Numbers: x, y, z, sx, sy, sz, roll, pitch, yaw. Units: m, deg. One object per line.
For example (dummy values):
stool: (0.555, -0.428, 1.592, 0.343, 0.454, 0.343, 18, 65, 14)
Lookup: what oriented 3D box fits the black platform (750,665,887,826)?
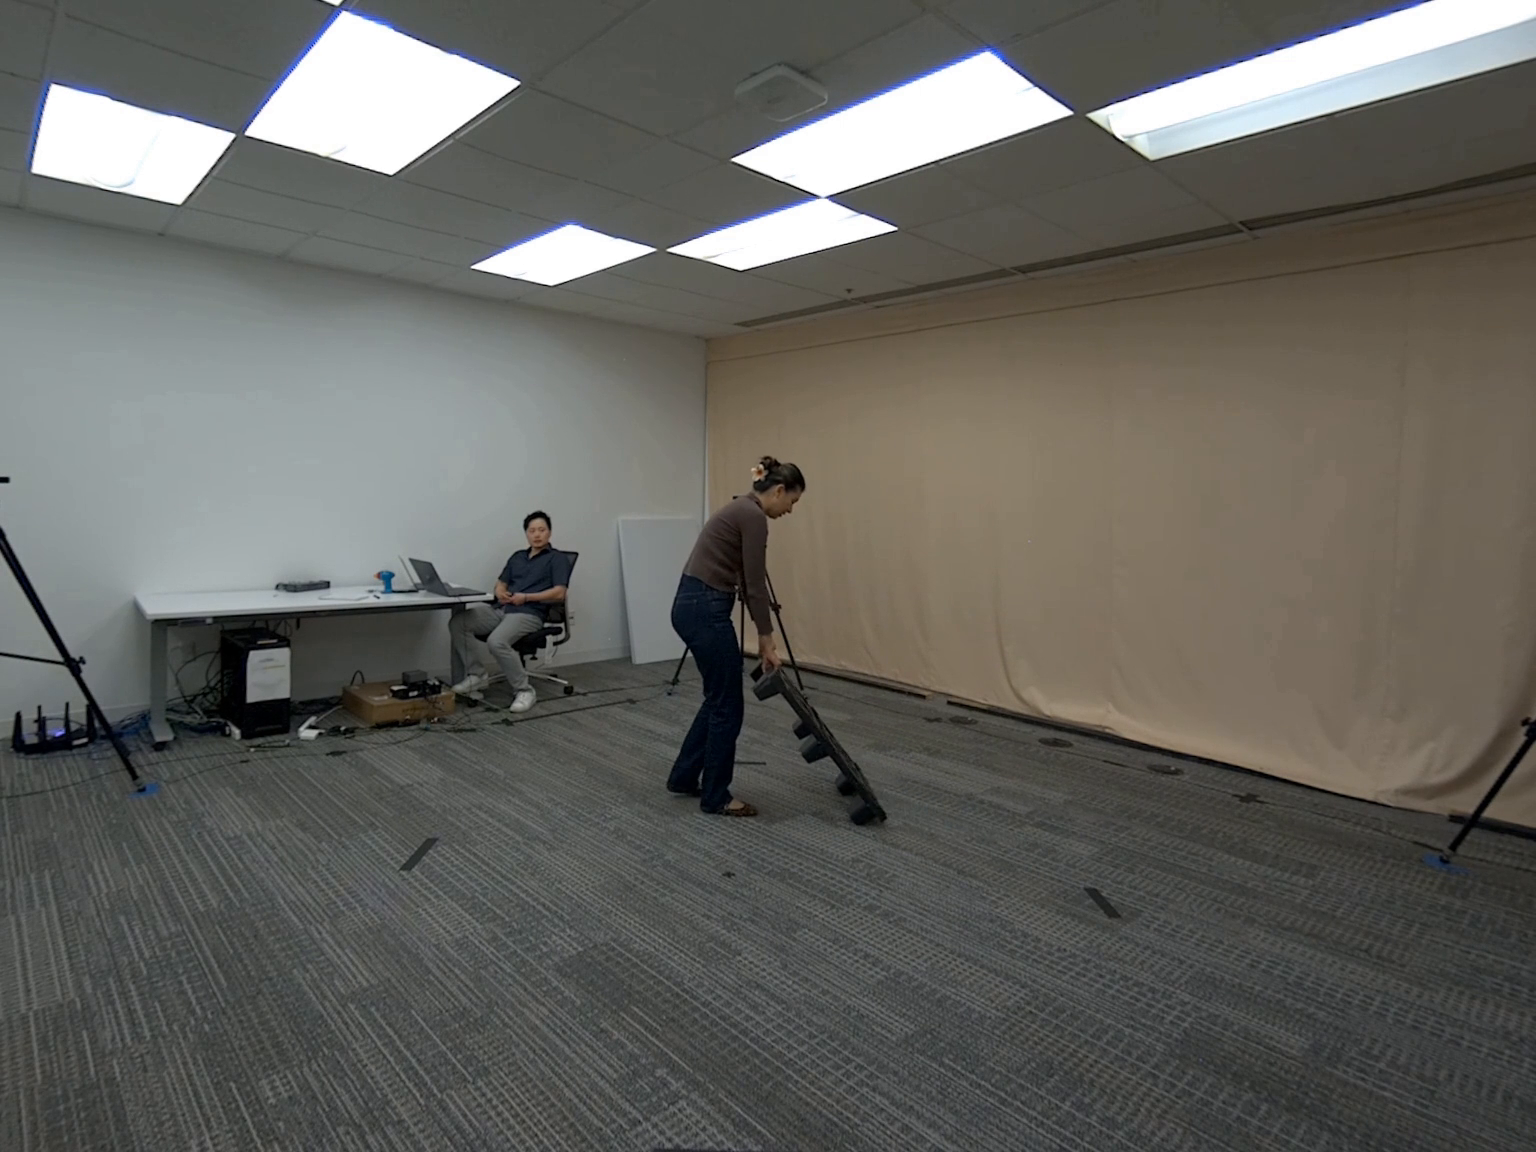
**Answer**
black platform: (0.189, 0.718, 3.840, 0.143, 0.804, 0.607, -36, 3, 0)
